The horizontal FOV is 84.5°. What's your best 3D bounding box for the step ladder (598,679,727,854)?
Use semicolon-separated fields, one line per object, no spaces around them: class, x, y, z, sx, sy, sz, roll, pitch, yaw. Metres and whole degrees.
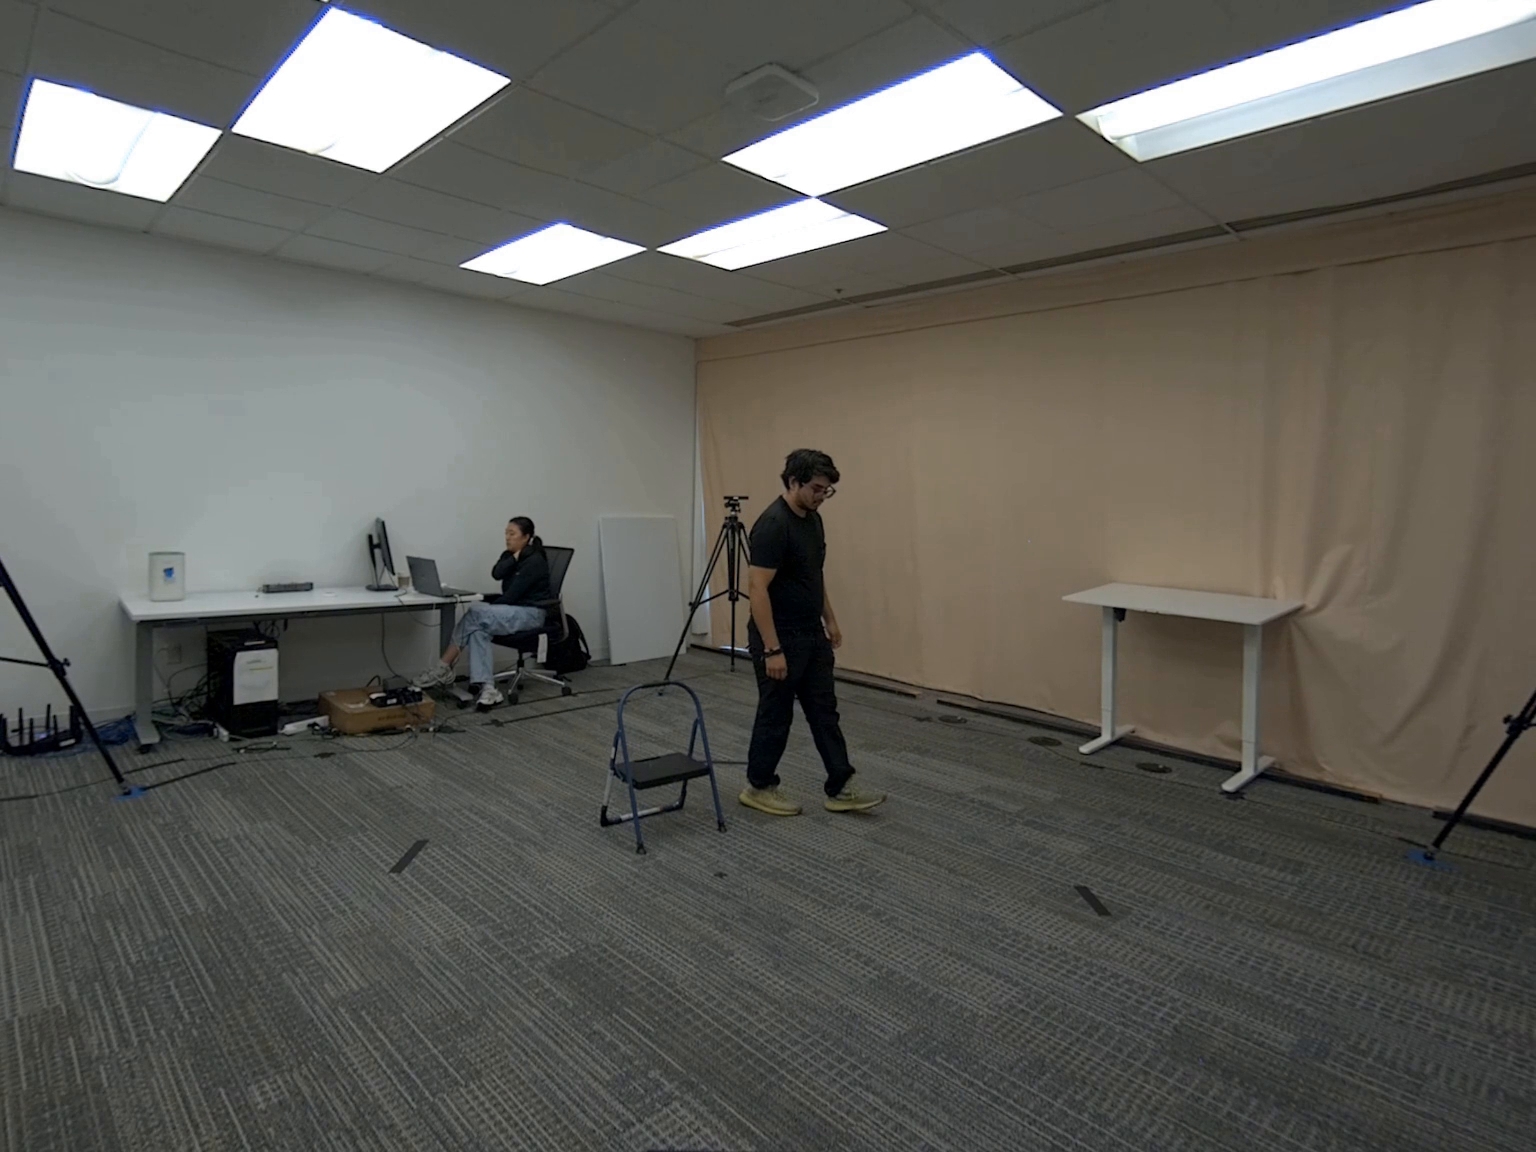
step ladder;-0.439;0.758;3.514;0.421;0.604;0.358;-1;5;-39
